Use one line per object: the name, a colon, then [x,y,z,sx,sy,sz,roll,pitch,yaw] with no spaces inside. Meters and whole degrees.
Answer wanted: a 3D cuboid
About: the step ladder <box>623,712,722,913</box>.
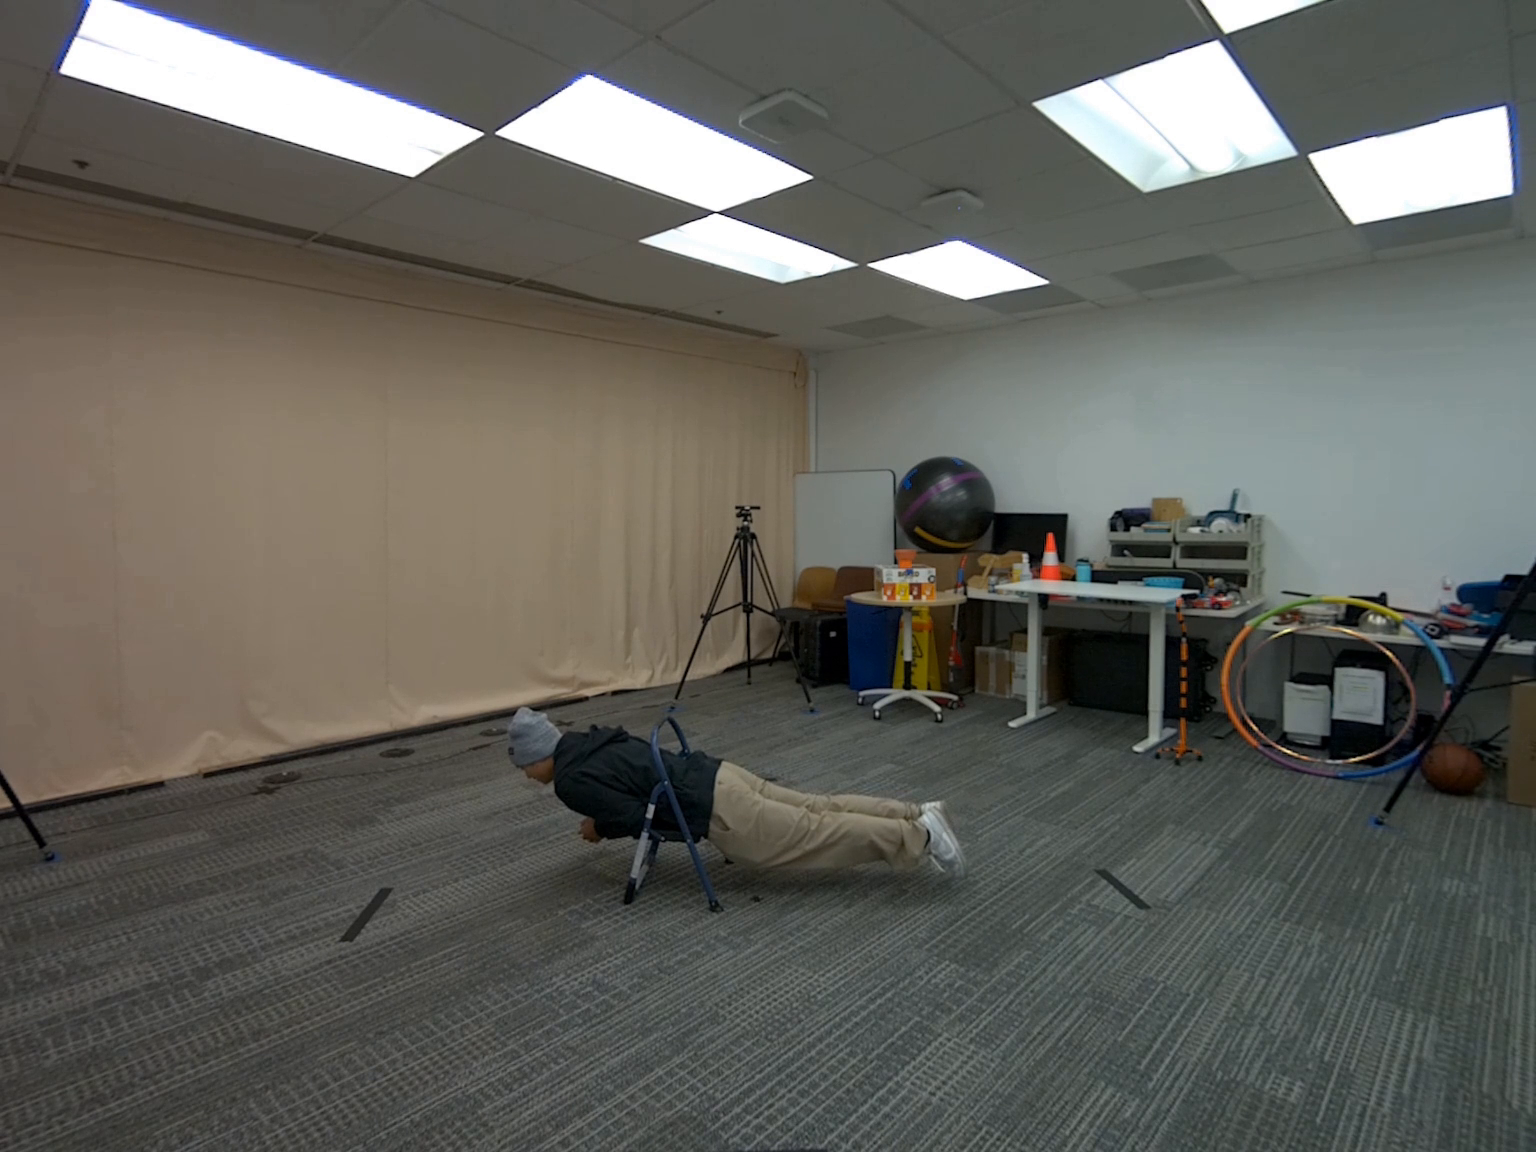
step ladder: [-0.318,0.838,3.103,0.352,0.605,0.429,-1,3,5]
